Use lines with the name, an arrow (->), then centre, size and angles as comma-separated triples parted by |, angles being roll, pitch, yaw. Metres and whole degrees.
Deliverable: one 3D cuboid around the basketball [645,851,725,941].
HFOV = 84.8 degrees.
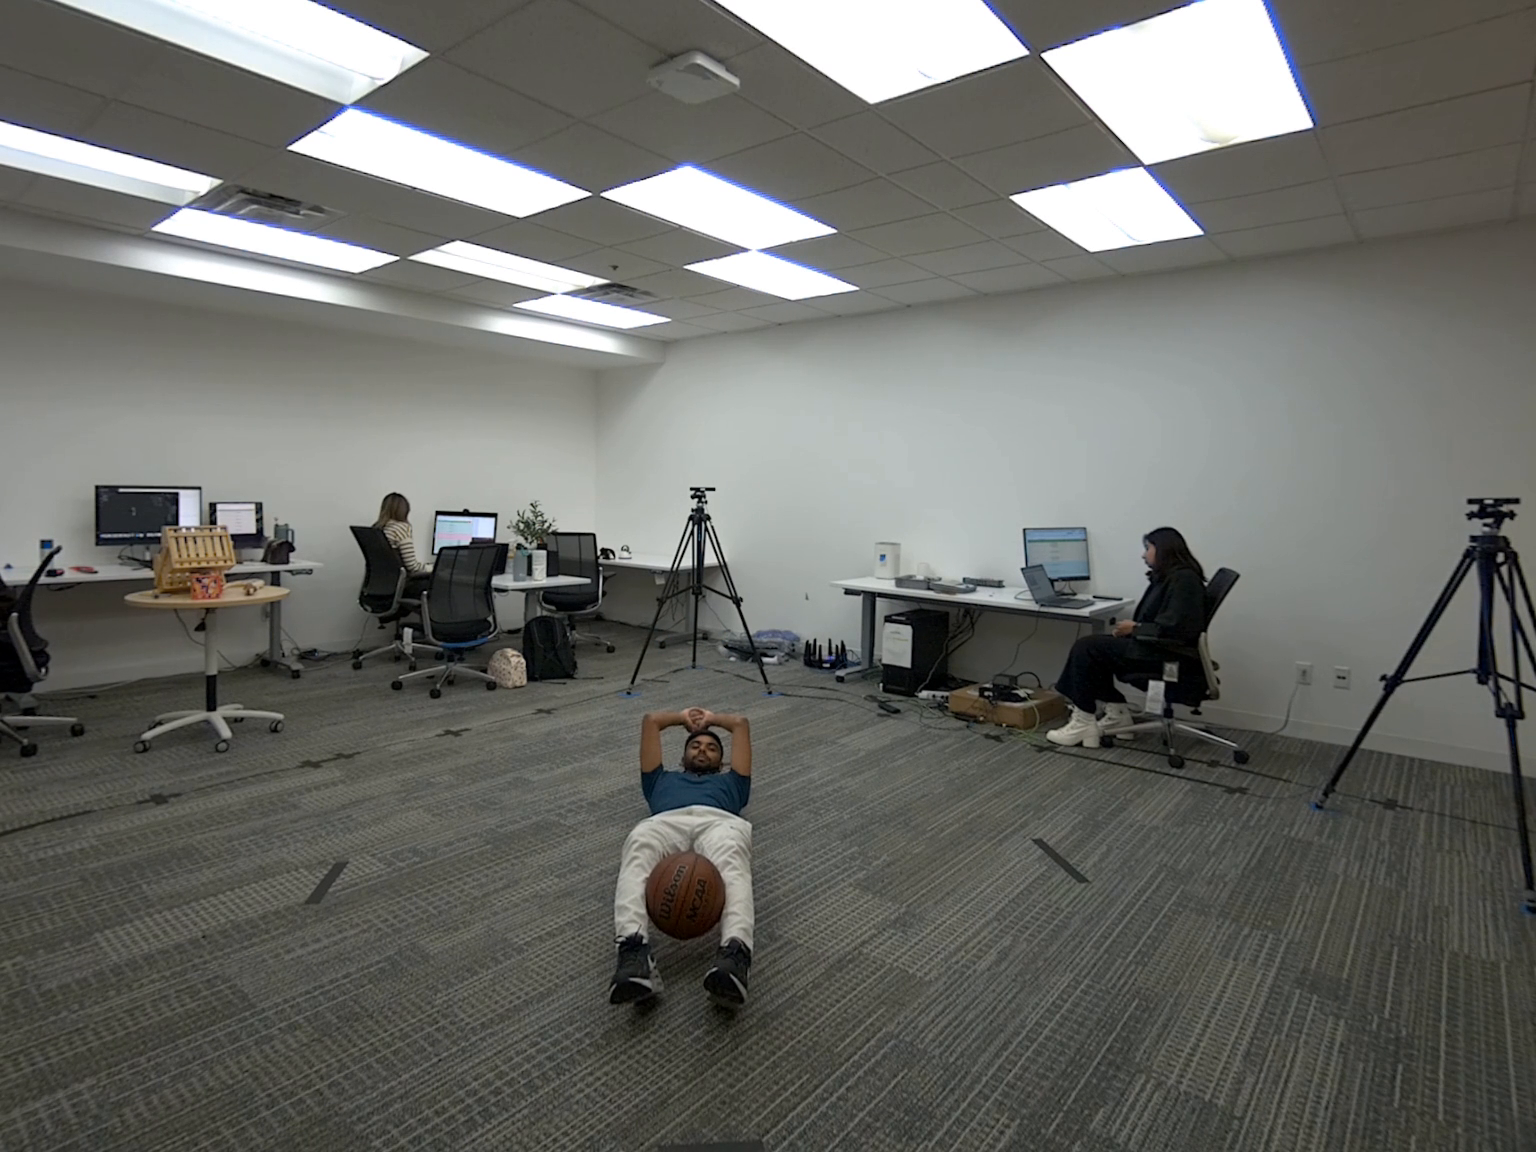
basketball -> -0.249, 0.932, 2.502 | 0.235, 0.235, 0.237 | 1, 4, -2
